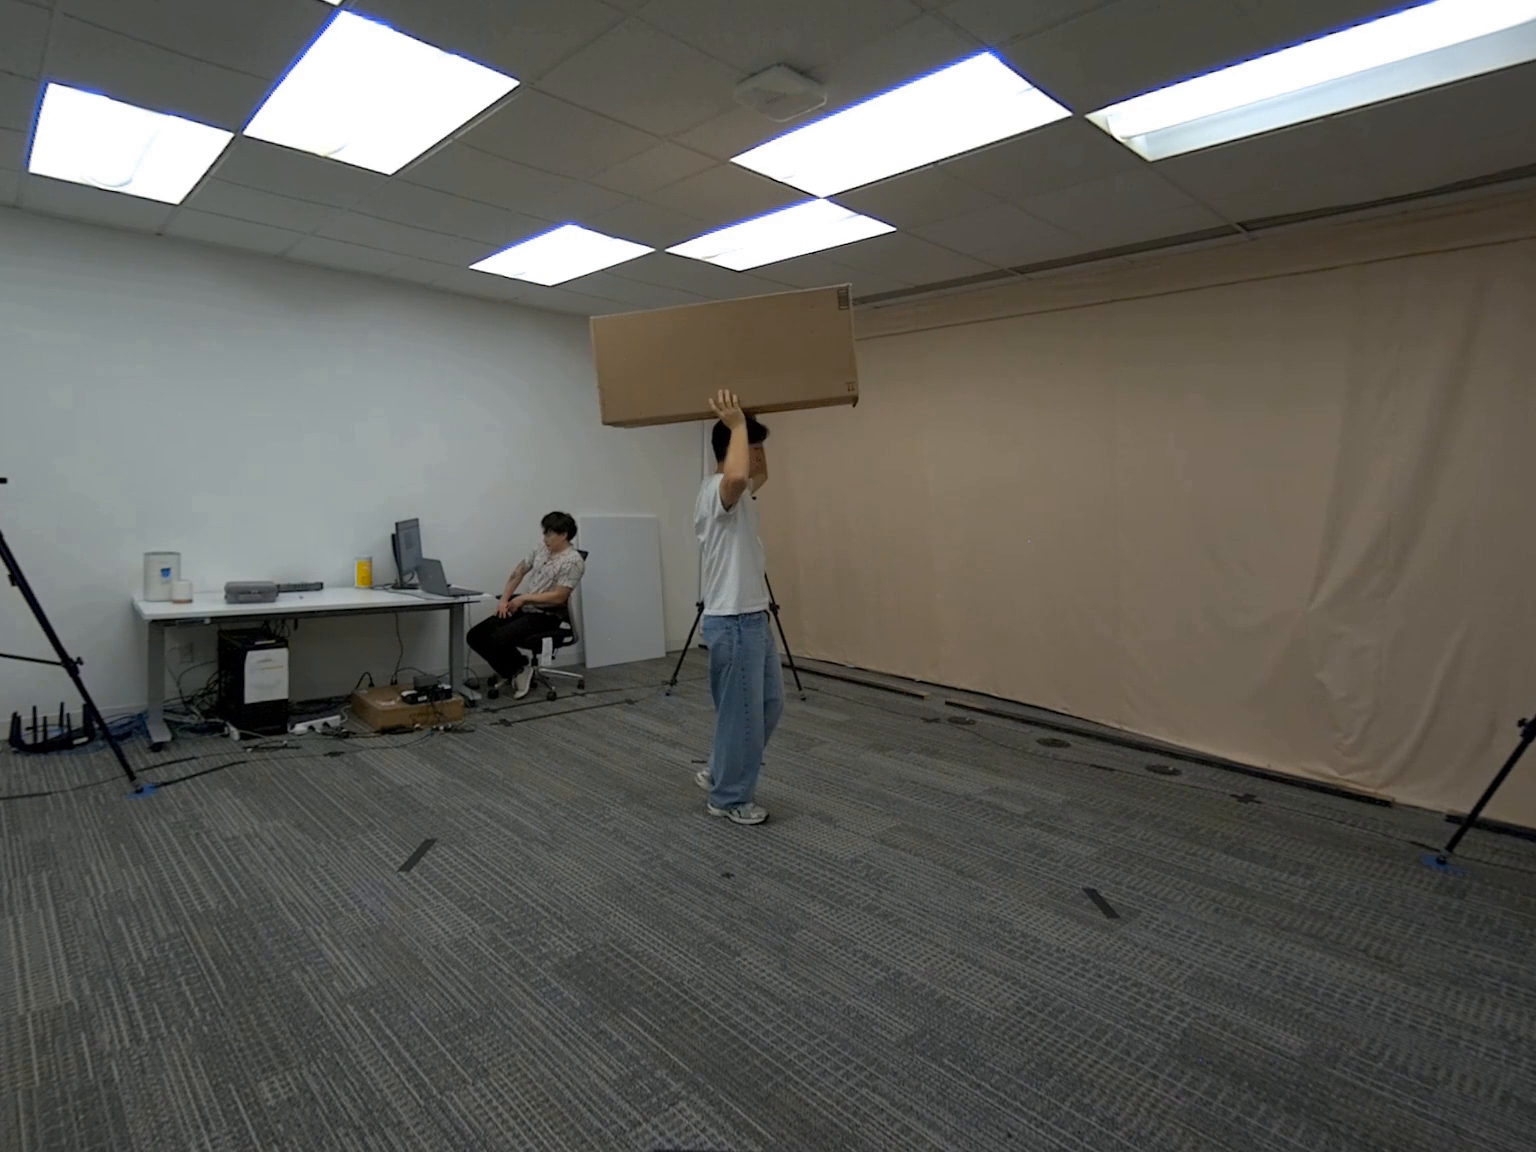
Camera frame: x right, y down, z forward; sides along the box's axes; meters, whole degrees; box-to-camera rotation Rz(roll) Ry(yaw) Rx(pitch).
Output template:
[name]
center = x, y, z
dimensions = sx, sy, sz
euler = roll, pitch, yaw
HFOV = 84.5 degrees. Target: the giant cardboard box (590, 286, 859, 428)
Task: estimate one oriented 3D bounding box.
[giant cardboard box]
center = -0.158, -0.889, 3.538
dimensions = 1.032, 0.423, 0.578
euler = -5, 9, 7
